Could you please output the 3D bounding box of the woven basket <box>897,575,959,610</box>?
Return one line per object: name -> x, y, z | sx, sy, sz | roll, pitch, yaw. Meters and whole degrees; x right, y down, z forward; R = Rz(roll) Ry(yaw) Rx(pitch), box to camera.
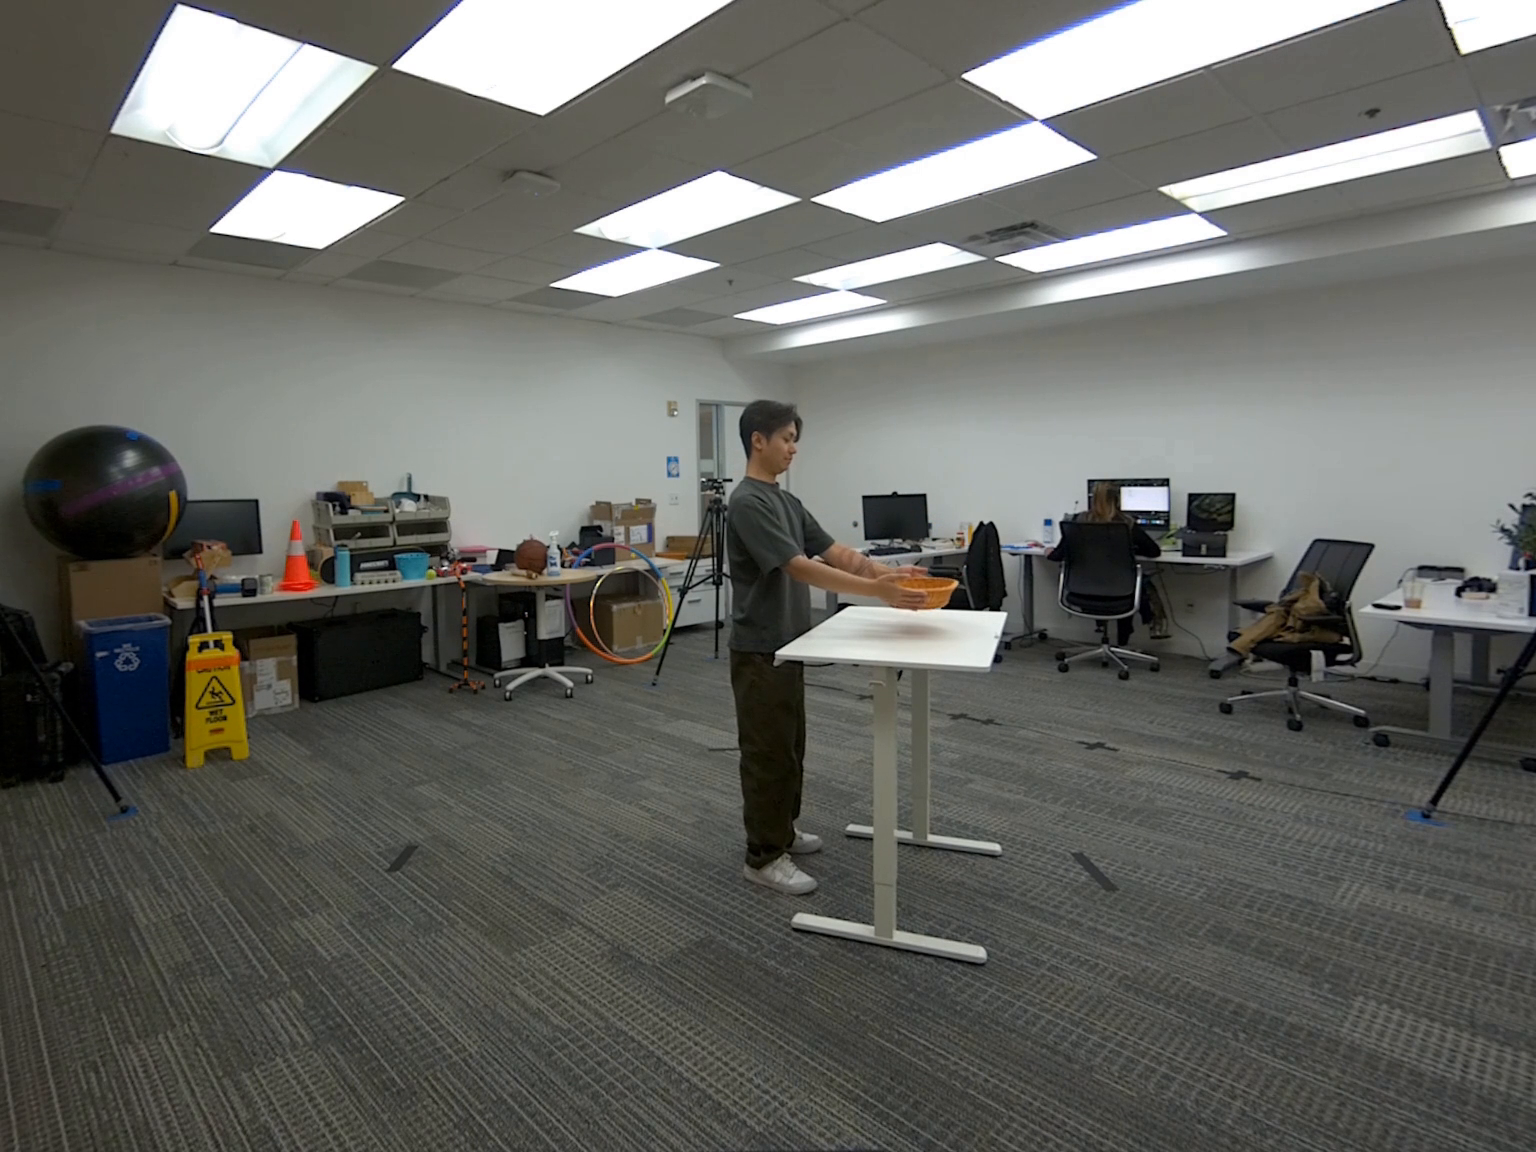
woven basket -> 0.488, 0.060, 2.833 | 0.259, 0.073, 0.342 | 4, 7, 32
